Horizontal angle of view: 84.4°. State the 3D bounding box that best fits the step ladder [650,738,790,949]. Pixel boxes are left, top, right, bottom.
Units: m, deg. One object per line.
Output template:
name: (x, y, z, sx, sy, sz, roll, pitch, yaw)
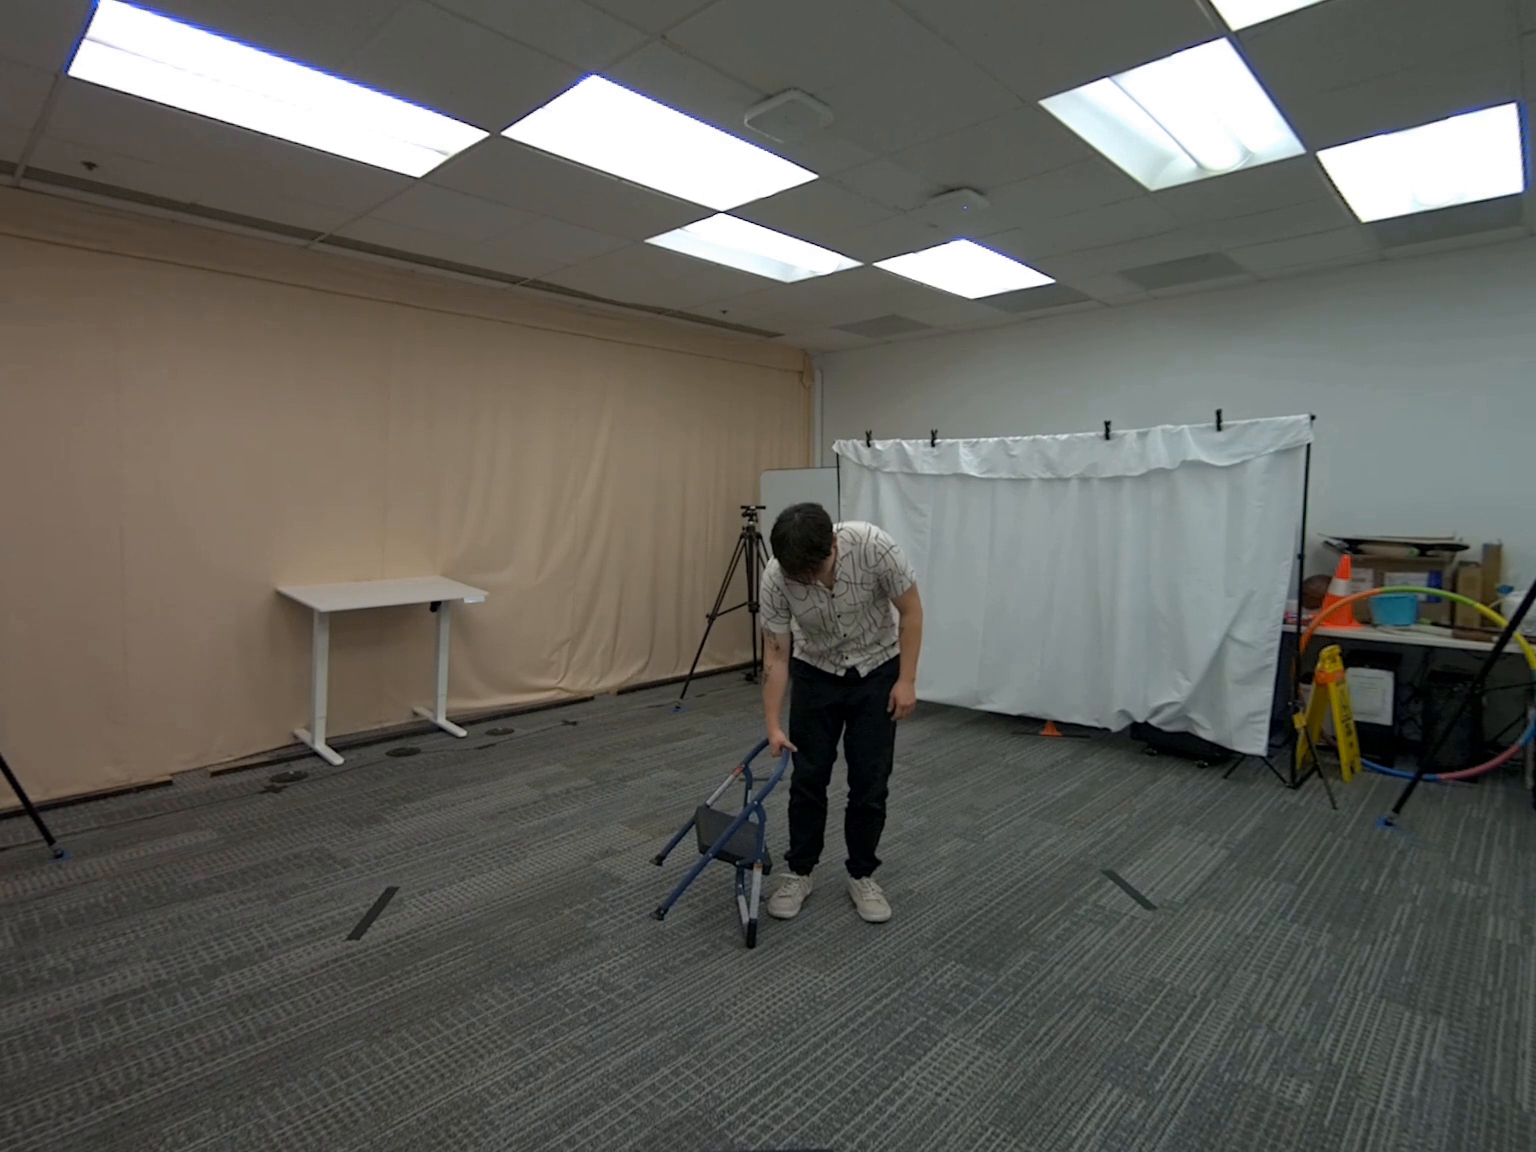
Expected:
step ladder: (-0.124, 0.829, 2.824, 0.347, 0.605, 0.434, 20, 2, -7)
